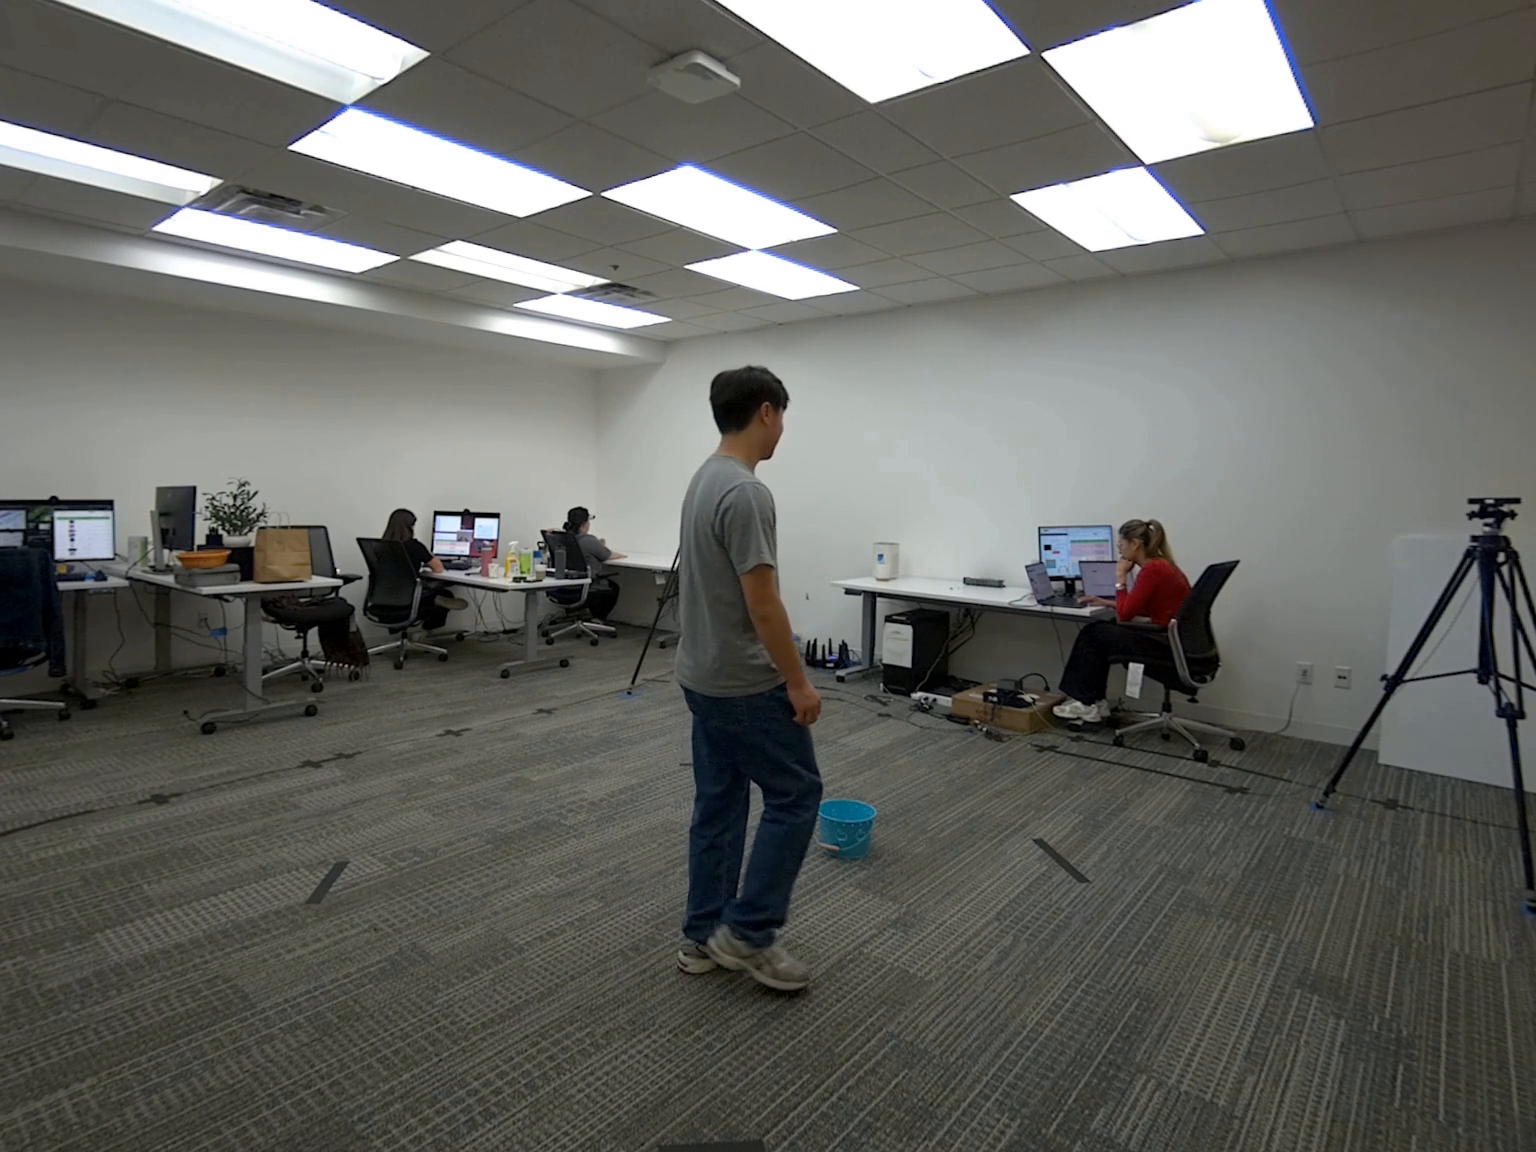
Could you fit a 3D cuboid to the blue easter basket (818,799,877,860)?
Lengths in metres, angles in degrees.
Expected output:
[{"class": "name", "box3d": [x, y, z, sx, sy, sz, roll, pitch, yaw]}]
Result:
[{"class": "blue easter basket", "box3d": [0.289, 0.977, 3.304, 0.243, 0.155, 0.245, 1, 5, -2]}]
